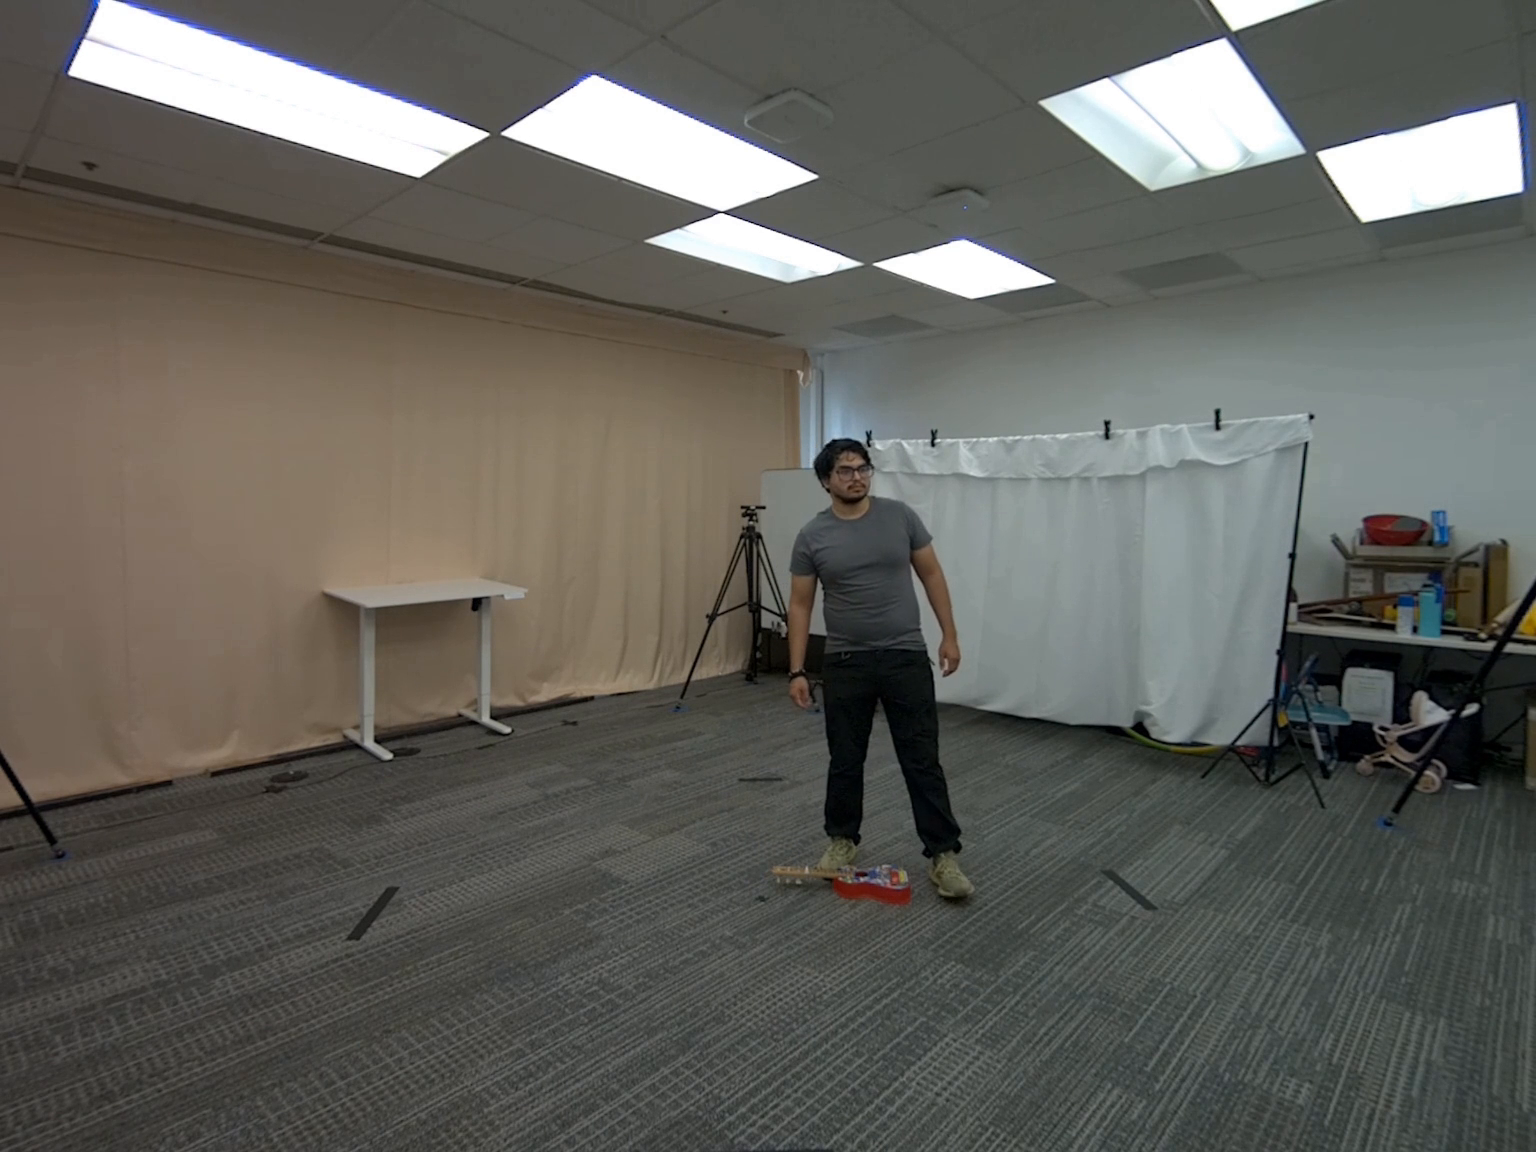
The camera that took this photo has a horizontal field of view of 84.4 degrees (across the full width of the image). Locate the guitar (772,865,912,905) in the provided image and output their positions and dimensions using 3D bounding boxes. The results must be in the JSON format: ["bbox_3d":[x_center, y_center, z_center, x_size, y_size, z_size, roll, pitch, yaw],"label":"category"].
[{"bbox_3d":[0.269,1.097,3.082,0.506,0.070,0.190,2,6,15],"label":"guitar"}]
